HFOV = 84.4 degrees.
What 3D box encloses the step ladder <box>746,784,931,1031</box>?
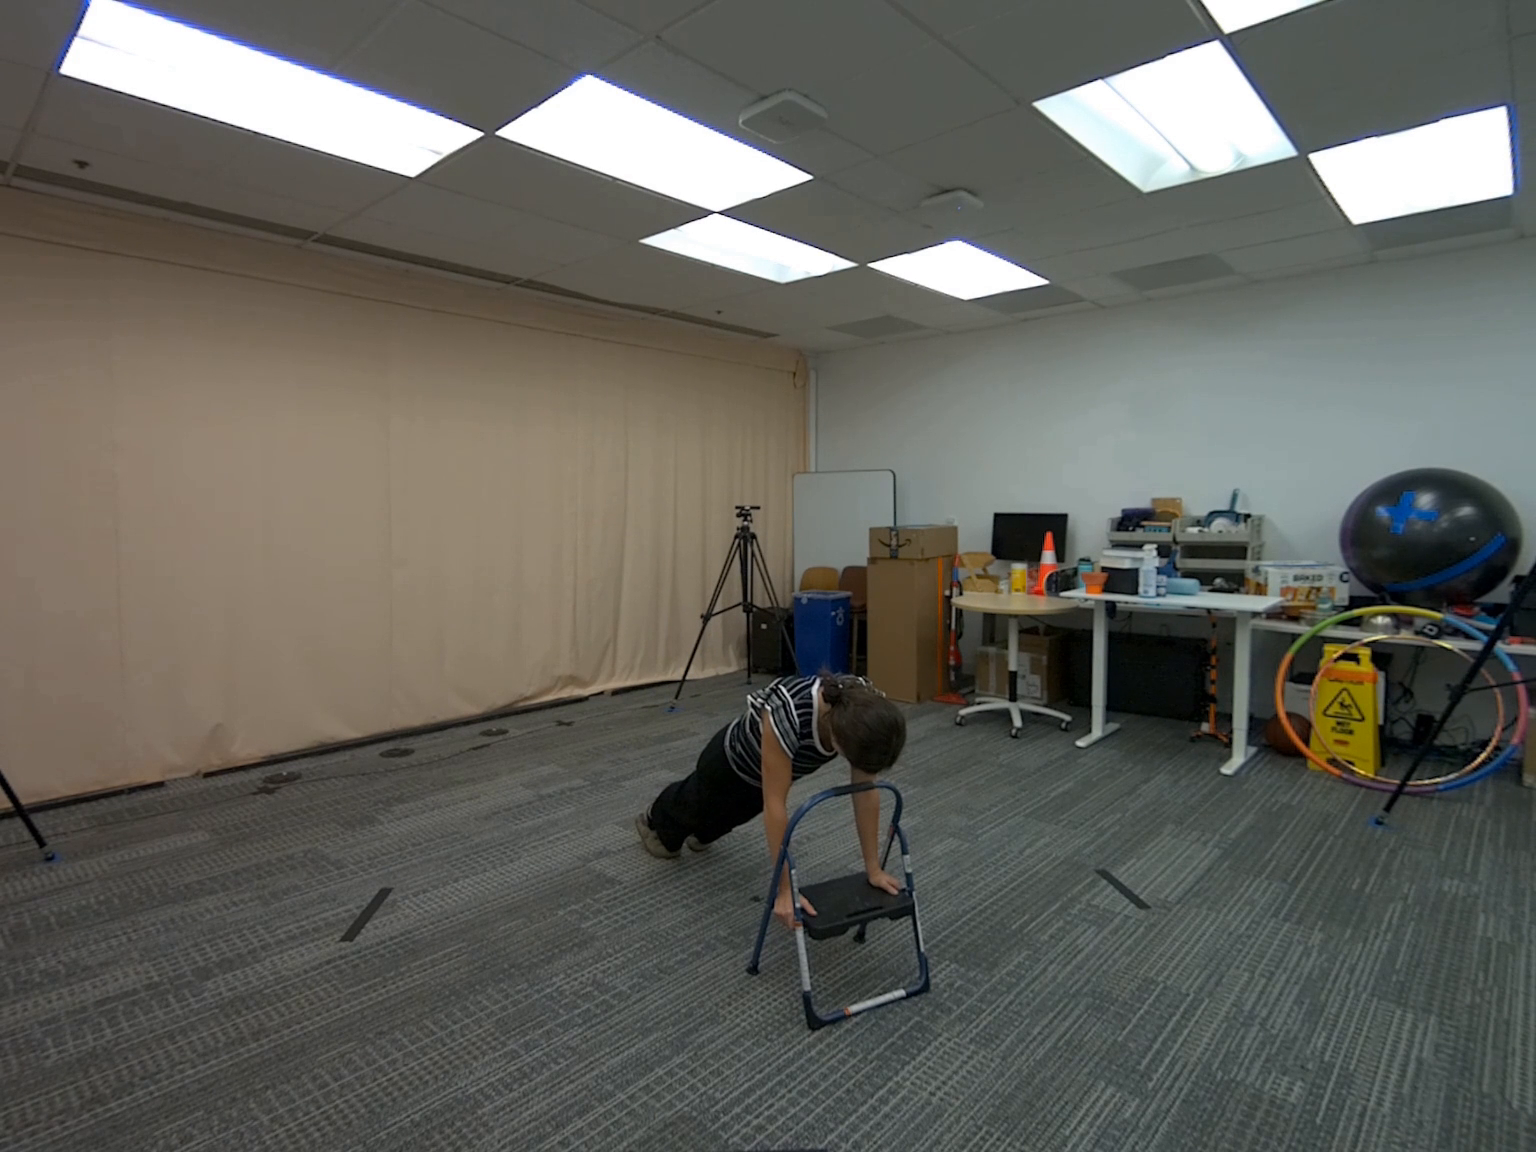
[{"bbox_3d":[0.211,0.888,2.453,0.419,0.604,0.359,-2,5,-30],"label":"step ladder"}]
